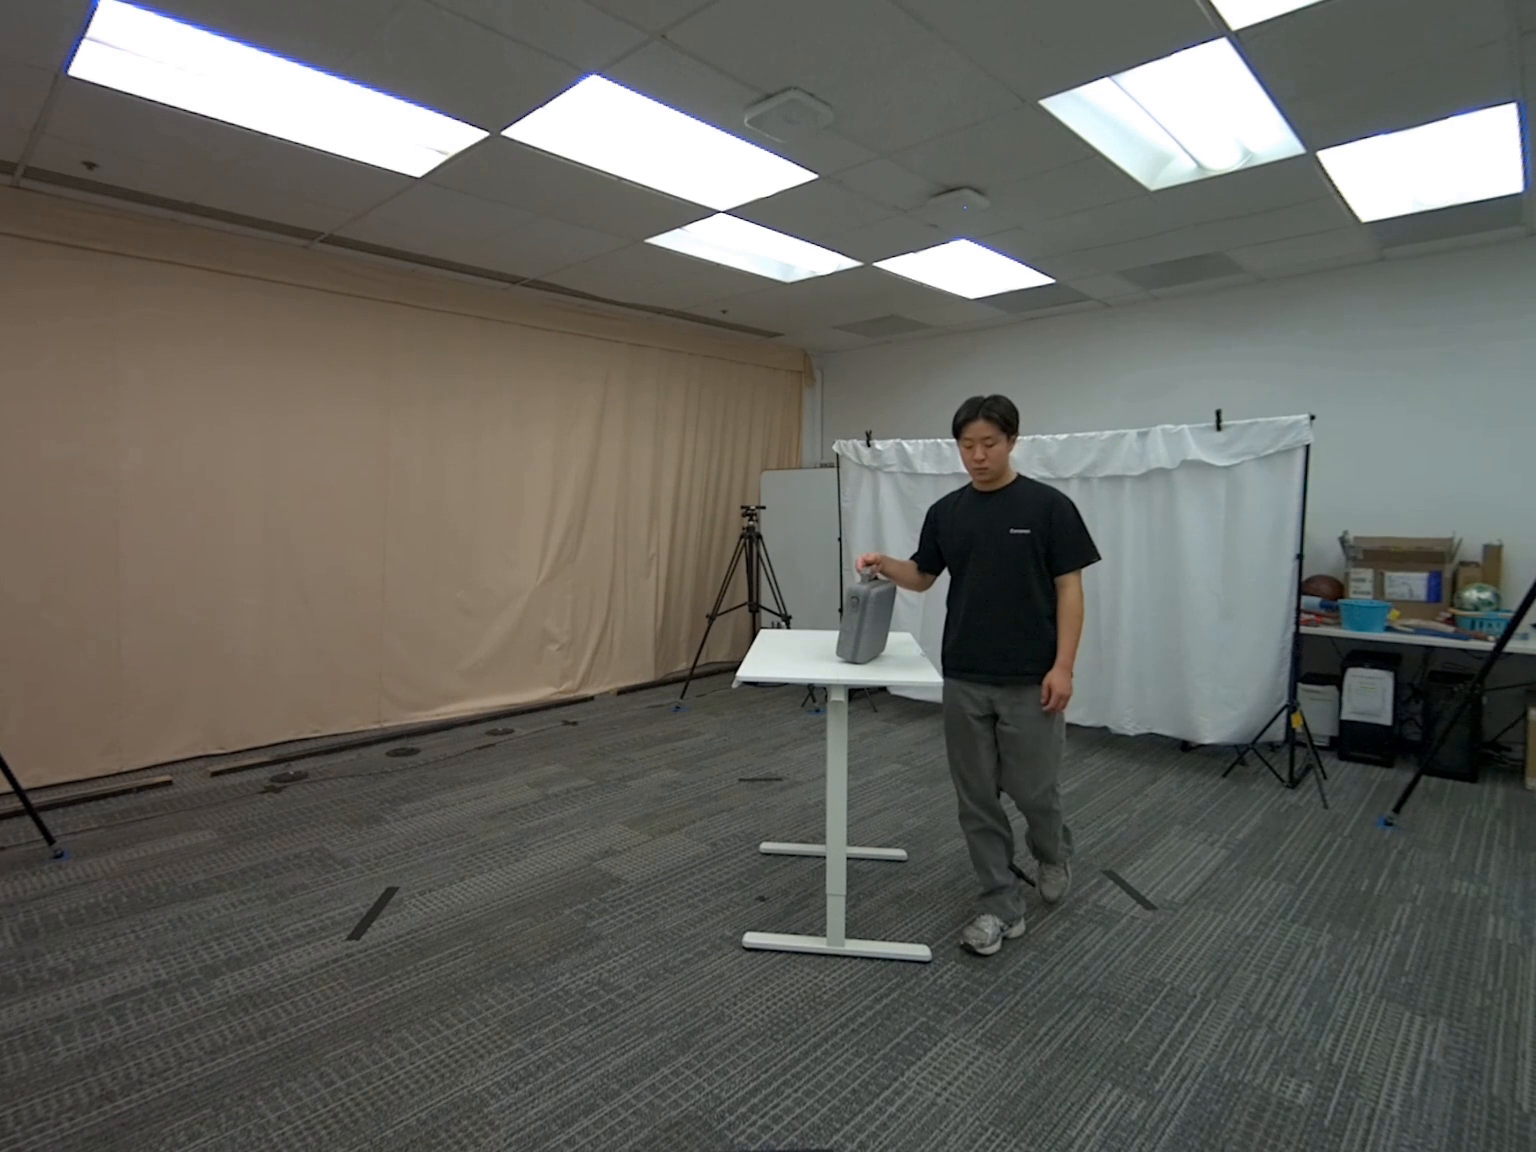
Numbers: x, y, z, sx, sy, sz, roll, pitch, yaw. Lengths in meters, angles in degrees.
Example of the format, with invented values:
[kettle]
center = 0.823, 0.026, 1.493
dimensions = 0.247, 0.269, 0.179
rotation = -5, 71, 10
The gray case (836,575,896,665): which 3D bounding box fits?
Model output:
[gray case]
center = 0.333, 0.134, 2.777
dimensions = 0.106, 0.286, 0.257
rotation = 11, 9, 25
